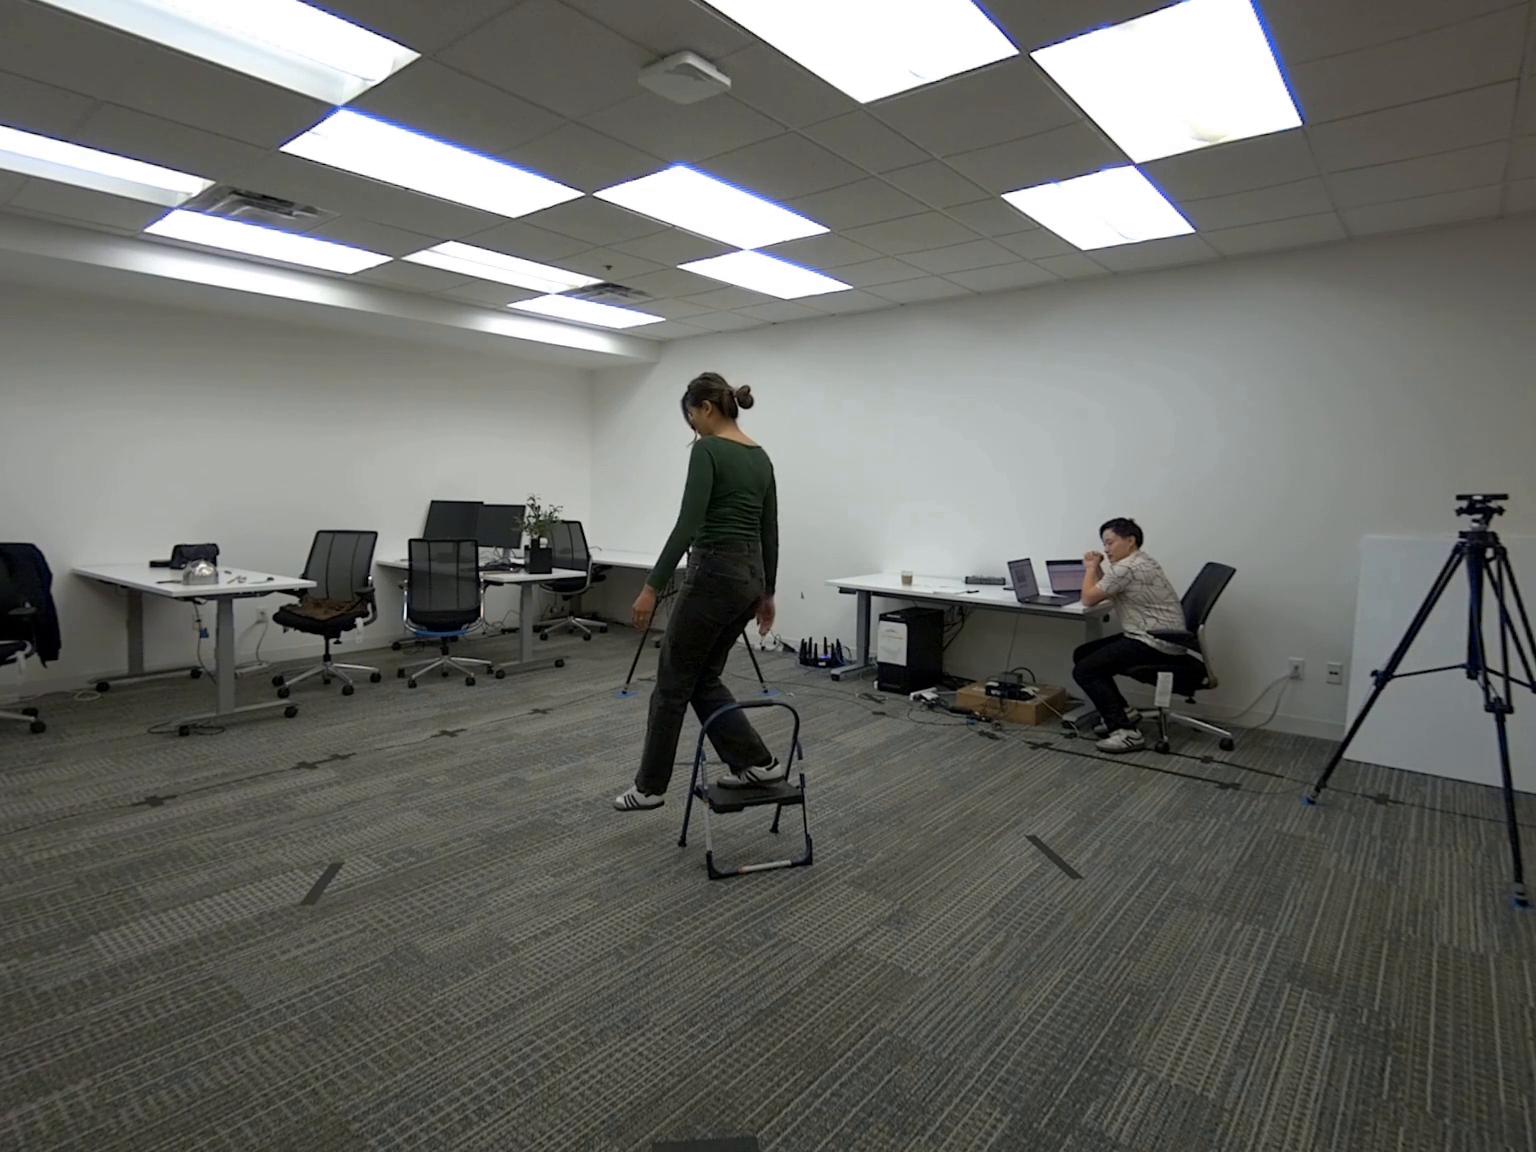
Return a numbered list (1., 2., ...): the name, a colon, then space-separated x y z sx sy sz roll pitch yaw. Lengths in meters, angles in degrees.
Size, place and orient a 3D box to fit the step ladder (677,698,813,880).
1. step ladder: -0.094 0.754 3.222 0.421 0.604 0.358 -1 4 -23
